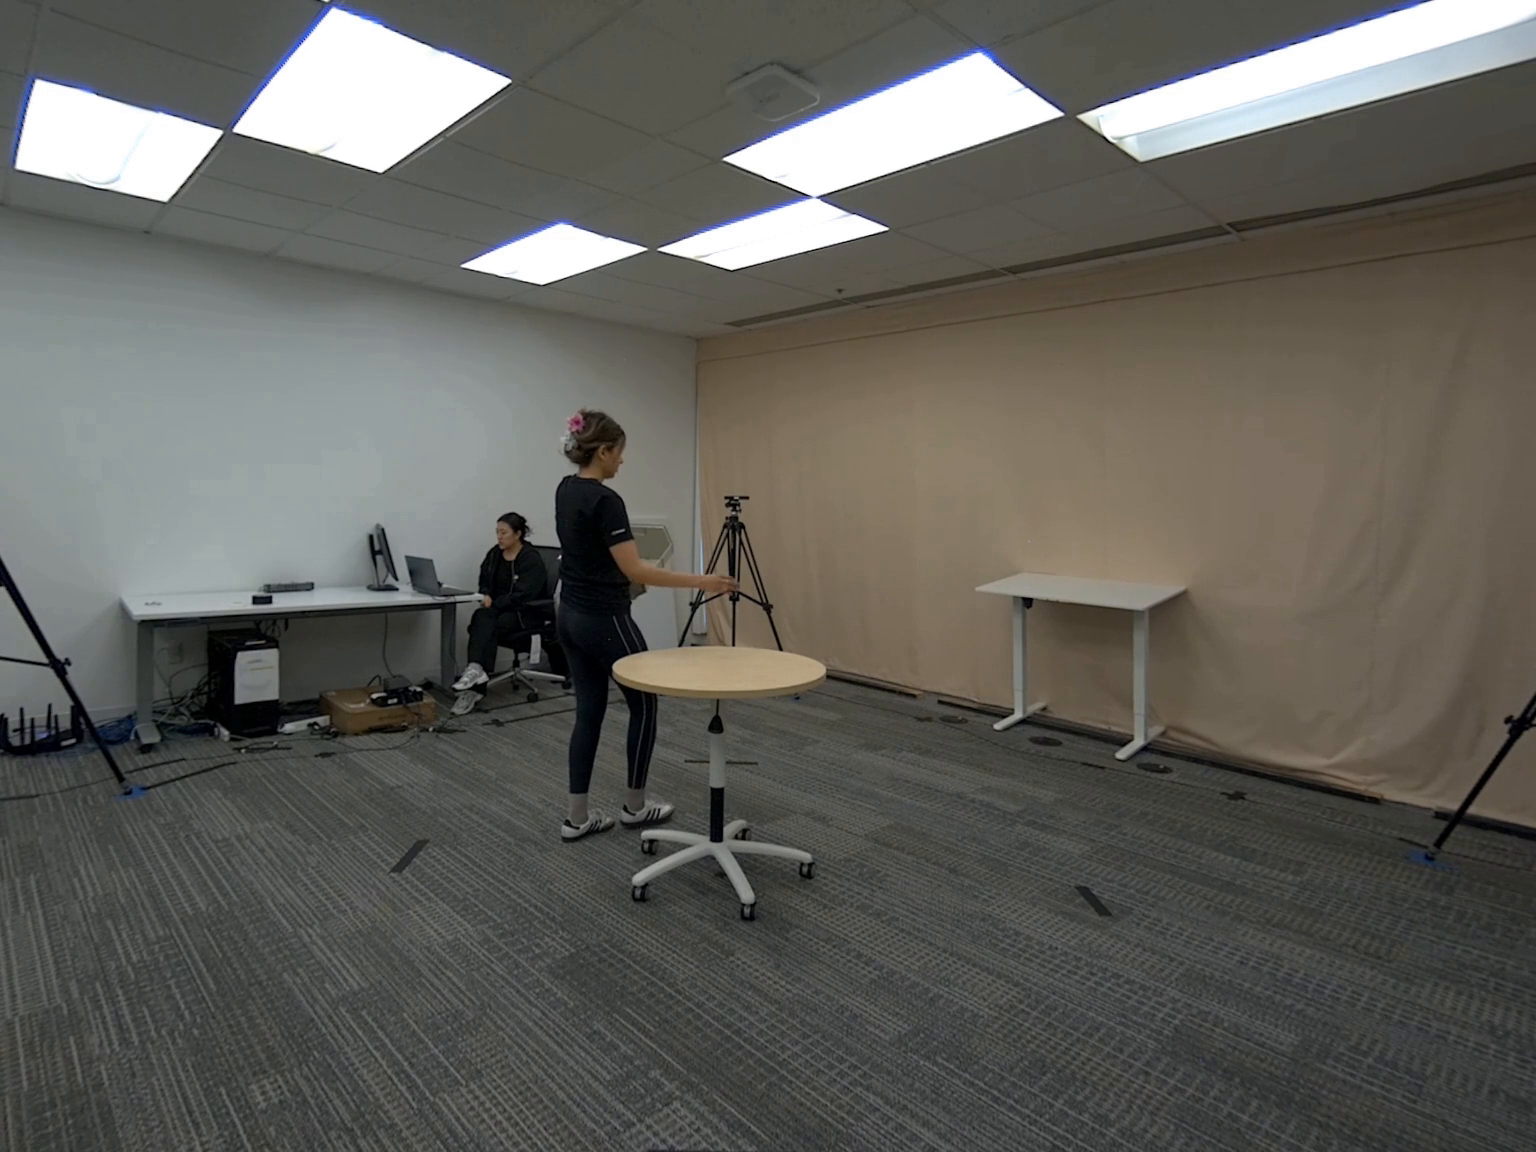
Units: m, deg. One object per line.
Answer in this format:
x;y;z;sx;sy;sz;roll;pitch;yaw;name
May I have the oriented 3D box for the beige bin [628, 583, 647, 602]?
-0.662;-0.069;3.706;0.381;0.186;0.425;2;25;11;beige bin
